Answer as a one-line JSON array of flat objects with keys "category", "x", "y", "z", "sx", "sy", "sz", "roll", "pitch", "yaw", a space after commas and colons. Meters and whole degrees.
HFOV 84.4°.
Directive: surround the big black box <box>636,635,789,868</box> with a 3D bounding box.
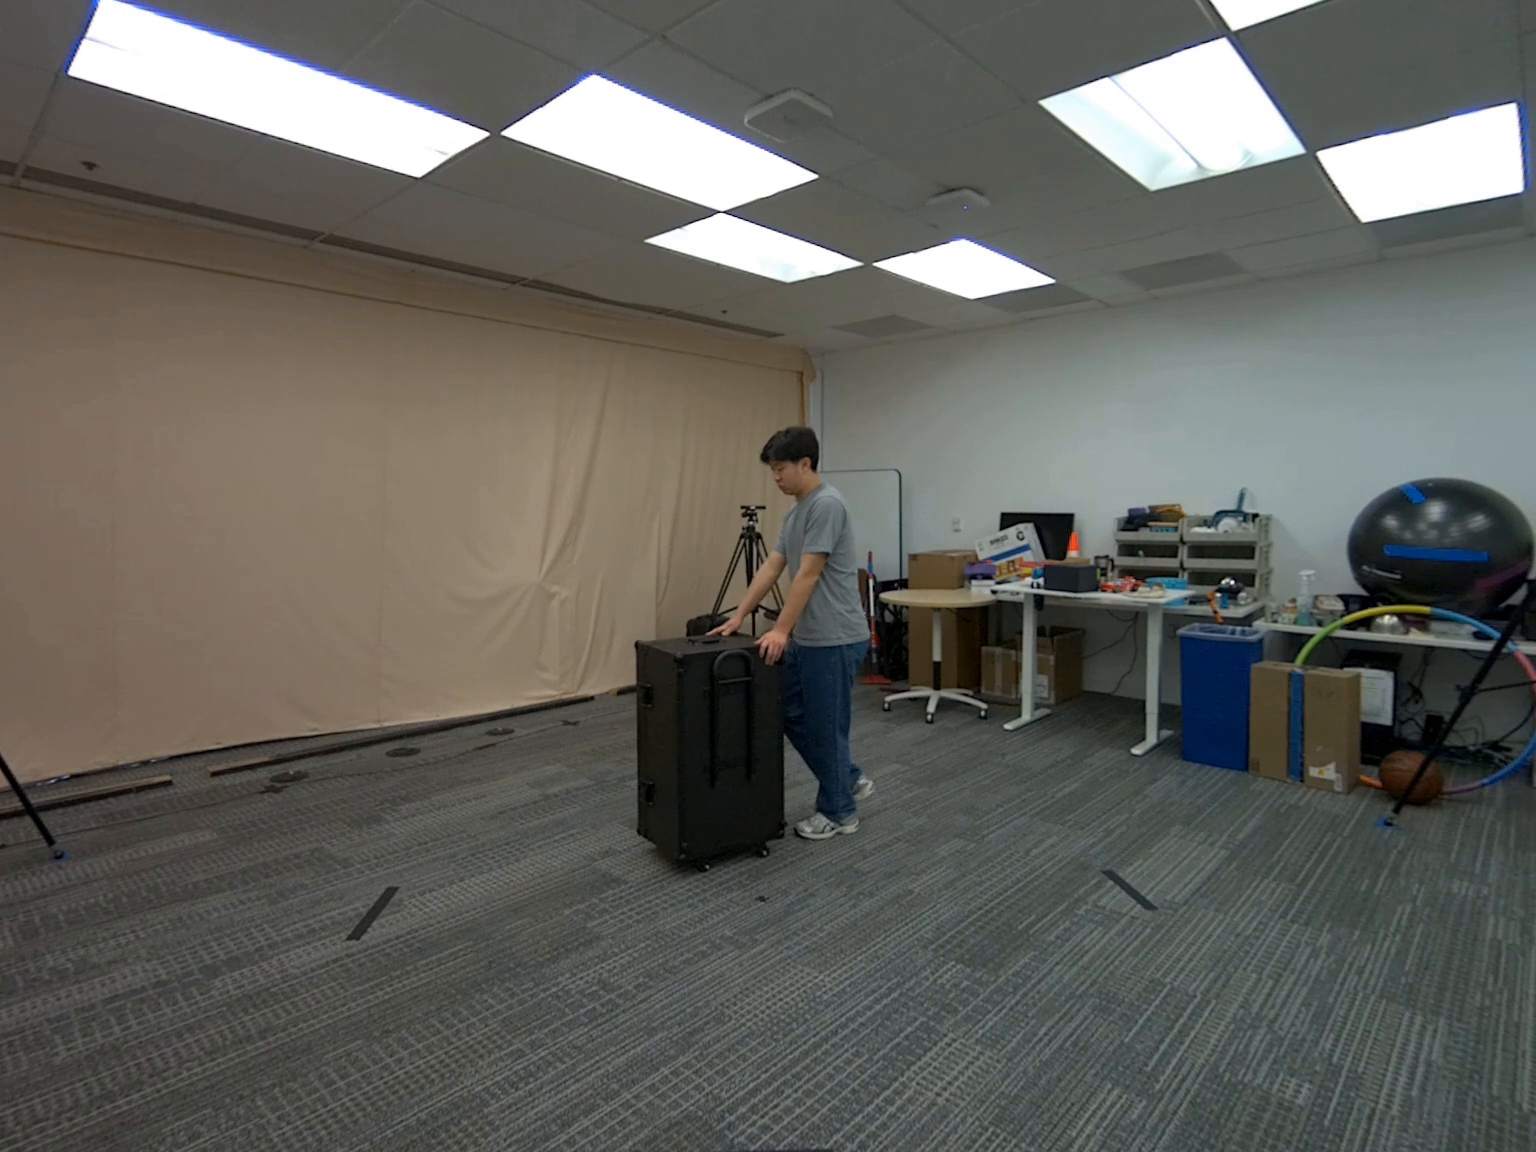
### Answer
[{"category": "big black box", "x": -0.219, "y": 0.691, "z": 3.355, "sx": 0.507, "sy": 0.859, "sz": 0.408, "roll": -2, "pitch": 4, "yaw": -32}]
